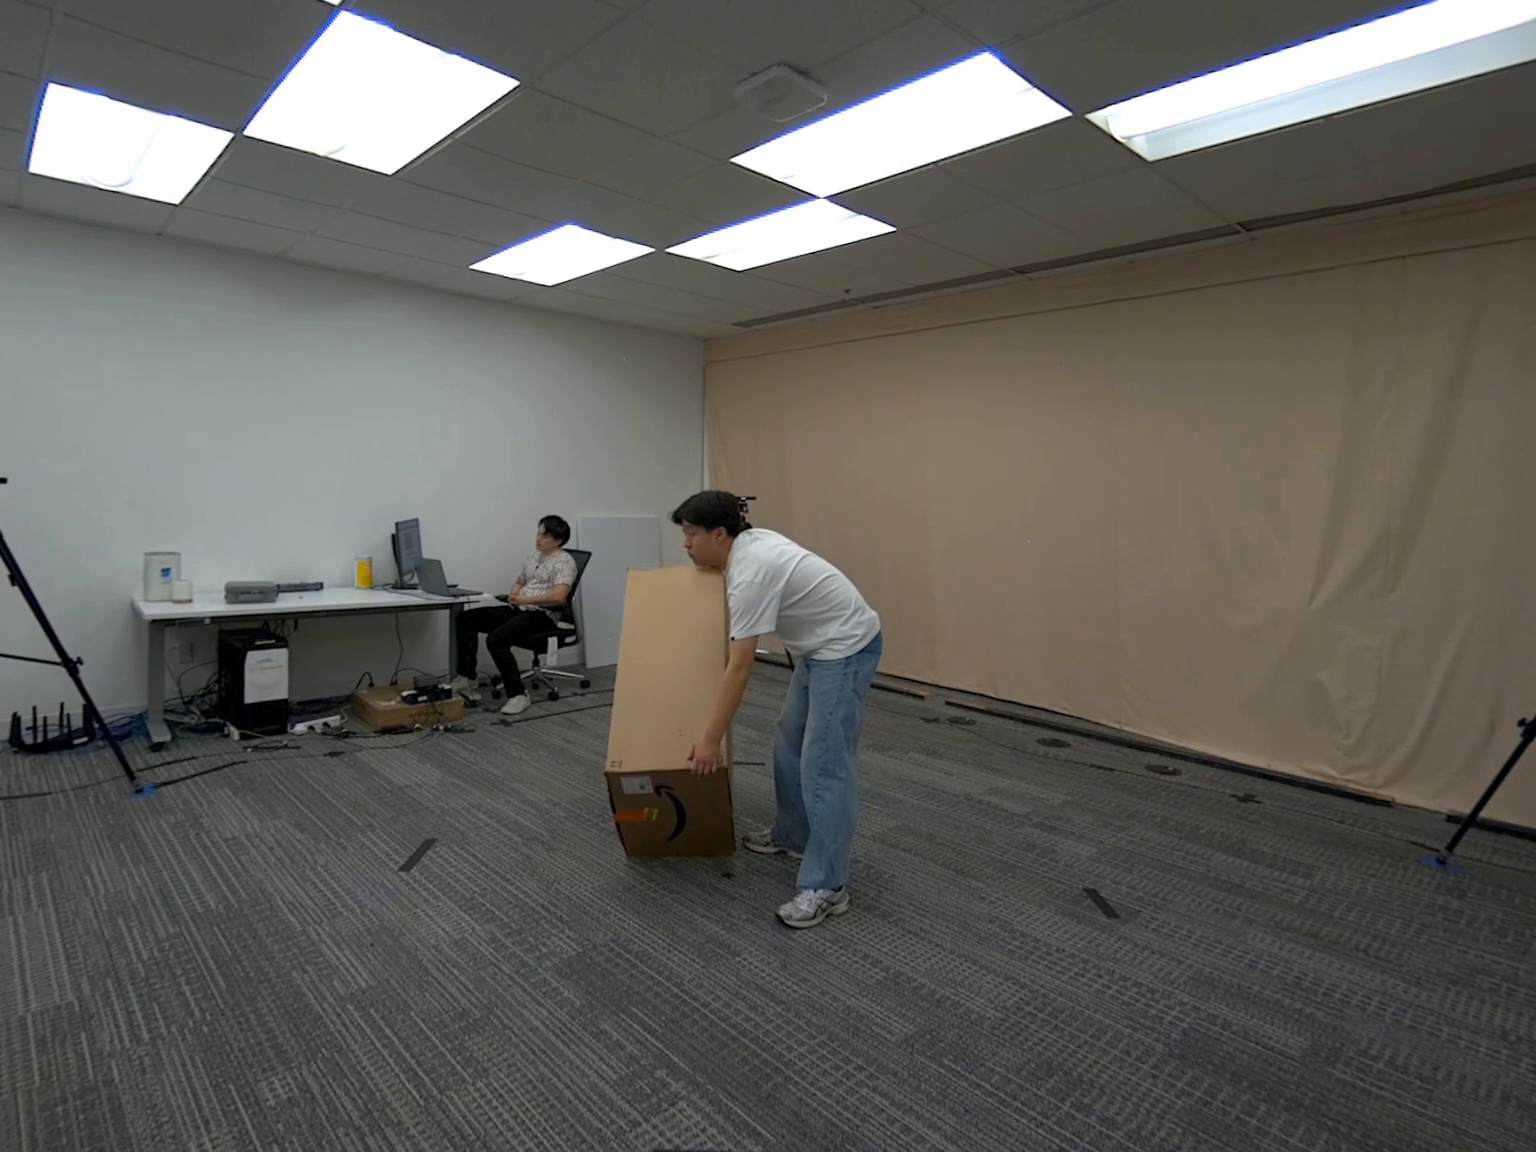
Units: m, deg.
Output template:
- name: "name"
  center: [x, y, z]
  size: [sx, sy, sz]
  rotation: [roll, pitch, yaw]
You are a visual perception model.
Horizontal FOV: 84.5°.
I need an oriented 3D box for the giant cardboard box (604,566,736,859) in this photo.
- name: "giant cardboard box"
  center: [-0.375, 0.533, 3.432]
  size: [0.426, 0.564, 1.049]
  rotation: [-3, 42, -1]
